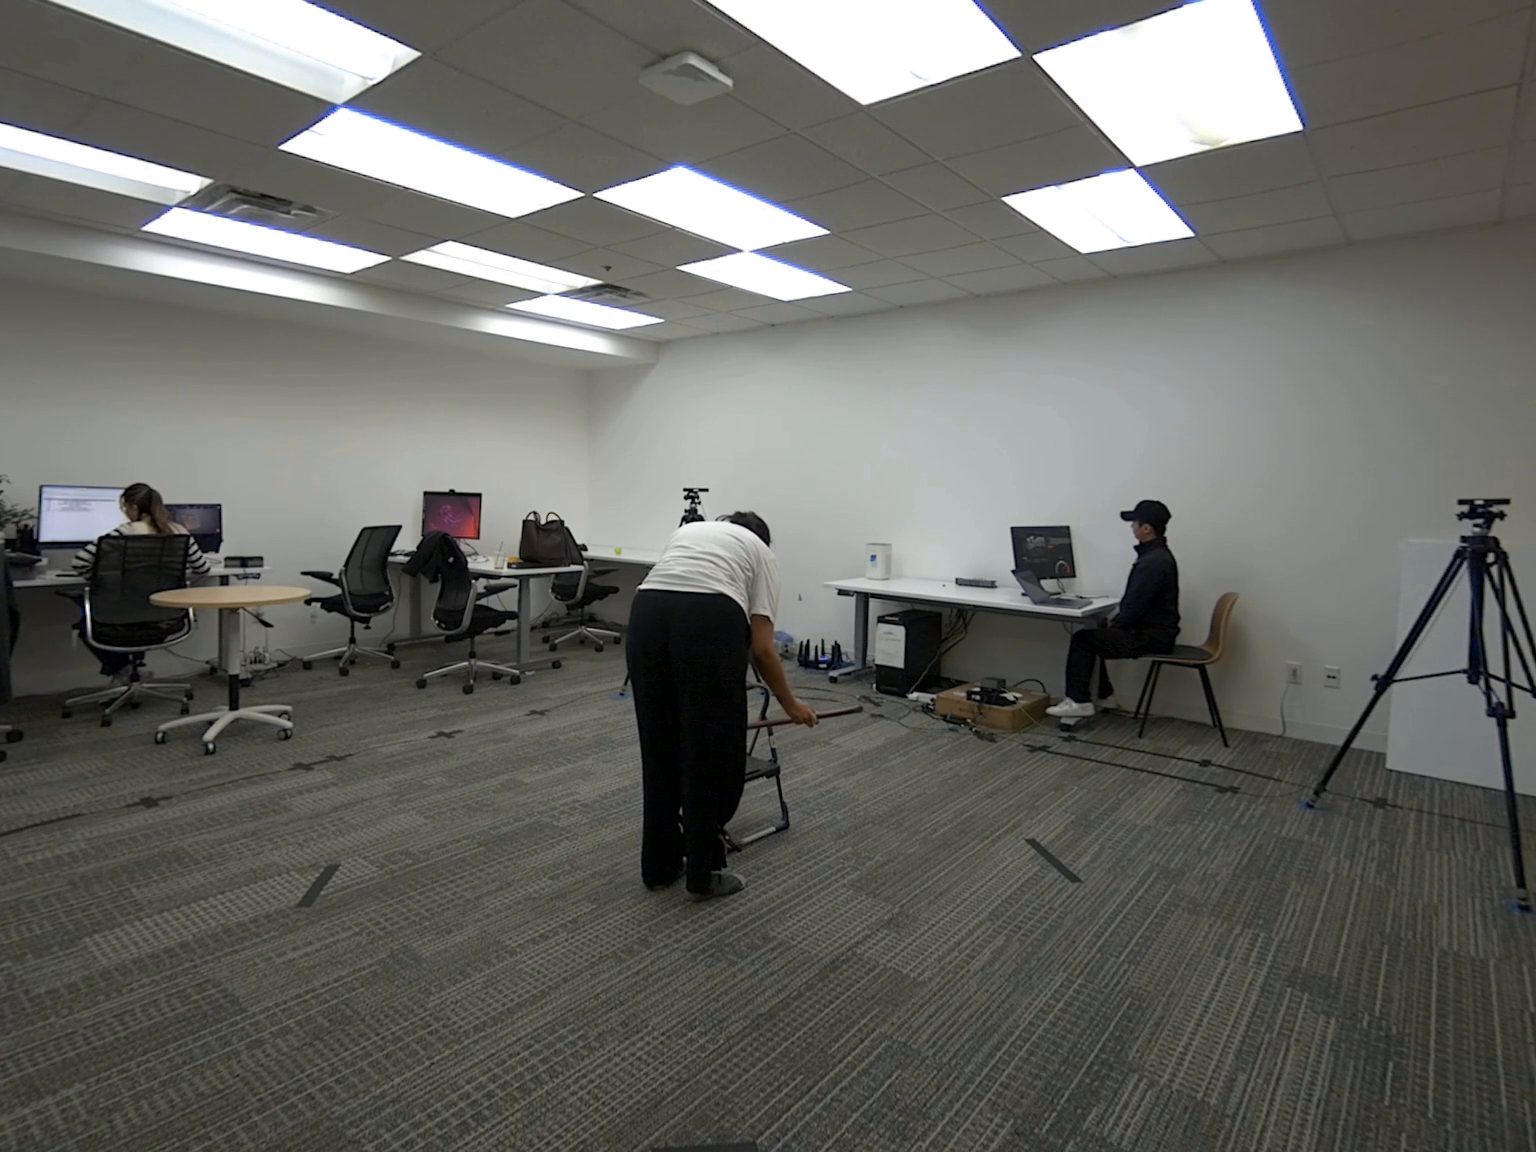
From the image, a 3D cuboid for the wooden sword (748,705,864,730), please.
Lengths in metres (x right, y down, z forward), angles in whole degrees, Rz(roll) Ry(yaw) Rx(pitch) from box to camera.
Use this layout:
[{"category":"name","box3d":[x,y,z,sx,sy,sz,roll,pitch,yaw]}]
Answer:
[{"category":"wooden sword","box3d":[-0.046,0.569,3.341,1.045,0.050,0.024,-19,25,45]}]
